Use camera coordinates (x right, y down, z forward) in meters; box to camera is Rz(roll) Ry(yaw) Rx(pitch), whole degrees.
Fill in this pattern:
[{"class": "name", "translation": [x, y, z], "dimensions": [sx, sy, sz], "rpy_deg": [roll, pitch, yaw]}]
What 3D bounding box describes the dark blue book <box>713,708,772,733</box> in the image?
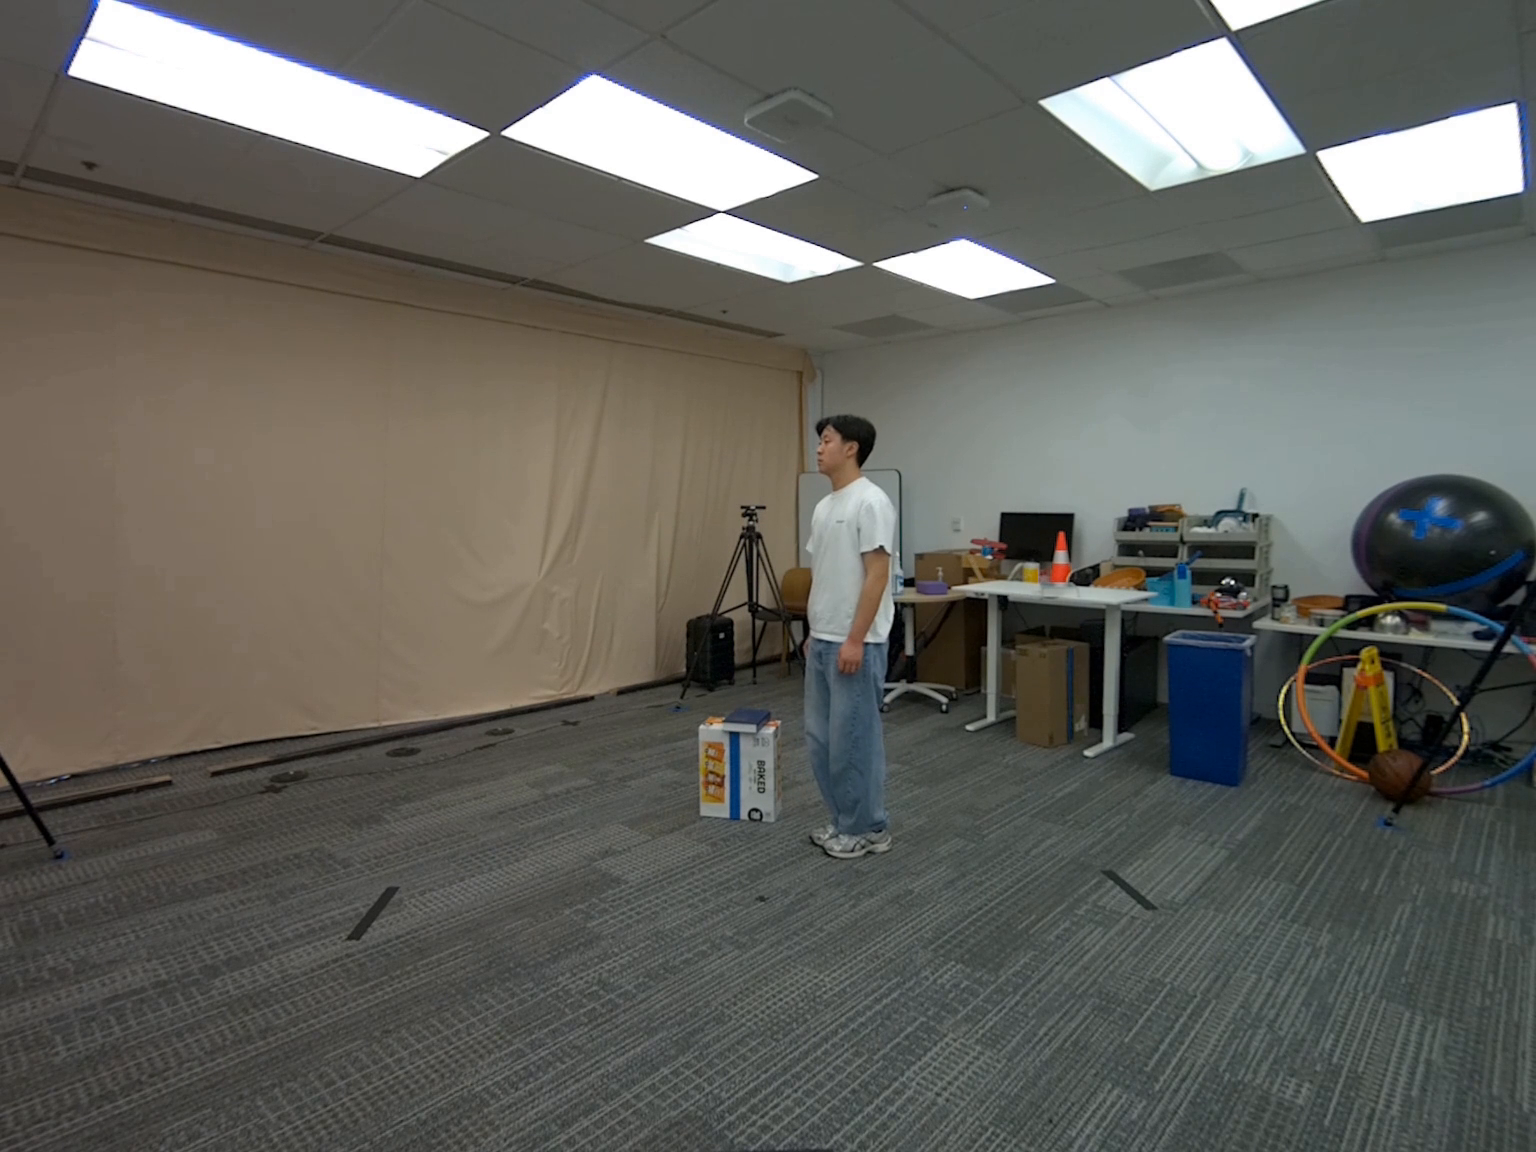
[{"class": "dark blue book", "translation": [-0.096, 0.650, 3.805], "dimensions": [0.166, 0.045, 0.241], "rpy_deg": [0, 5, 15]}]
